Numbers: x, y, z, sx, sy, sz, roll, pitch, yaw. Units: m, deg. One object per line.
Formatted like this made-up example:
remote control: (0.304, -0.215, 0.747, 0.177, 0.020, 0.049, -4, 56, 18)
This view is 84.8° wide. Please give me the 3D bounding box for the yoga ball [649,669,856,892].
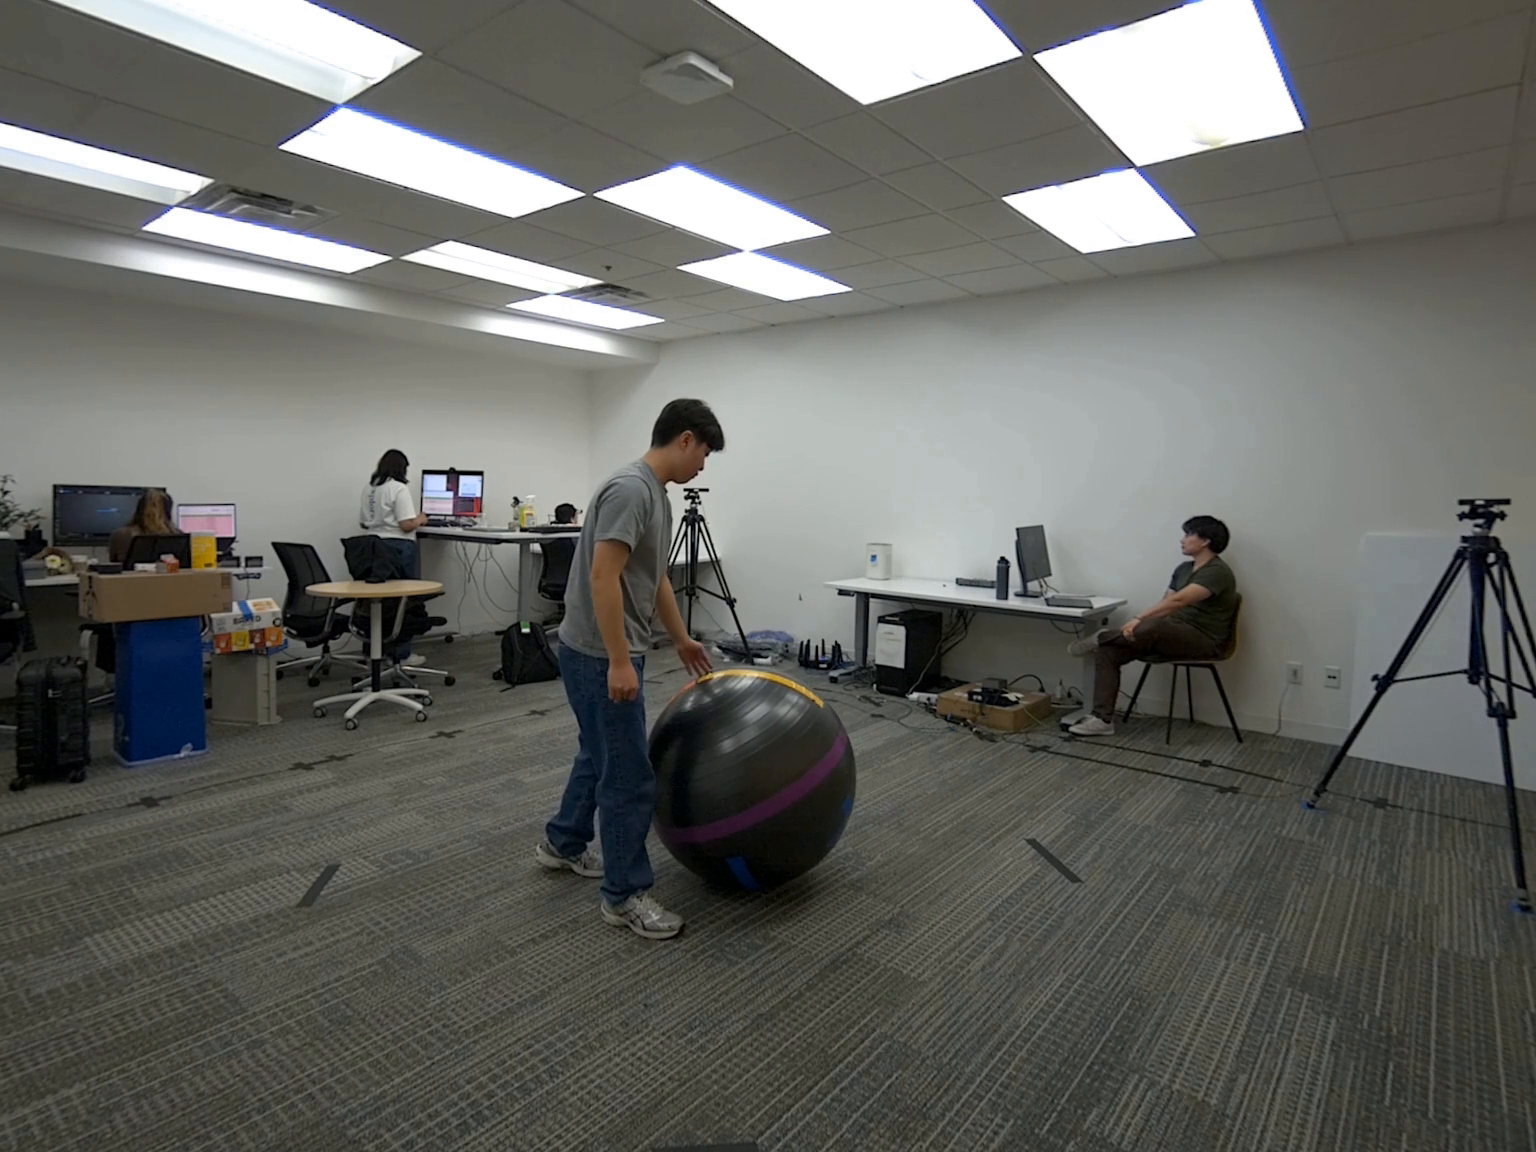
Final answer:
yoga ball: (-0.073, 0.717, 3.025, 0.757, 0.755, 0.762, 1, 4, -2)
